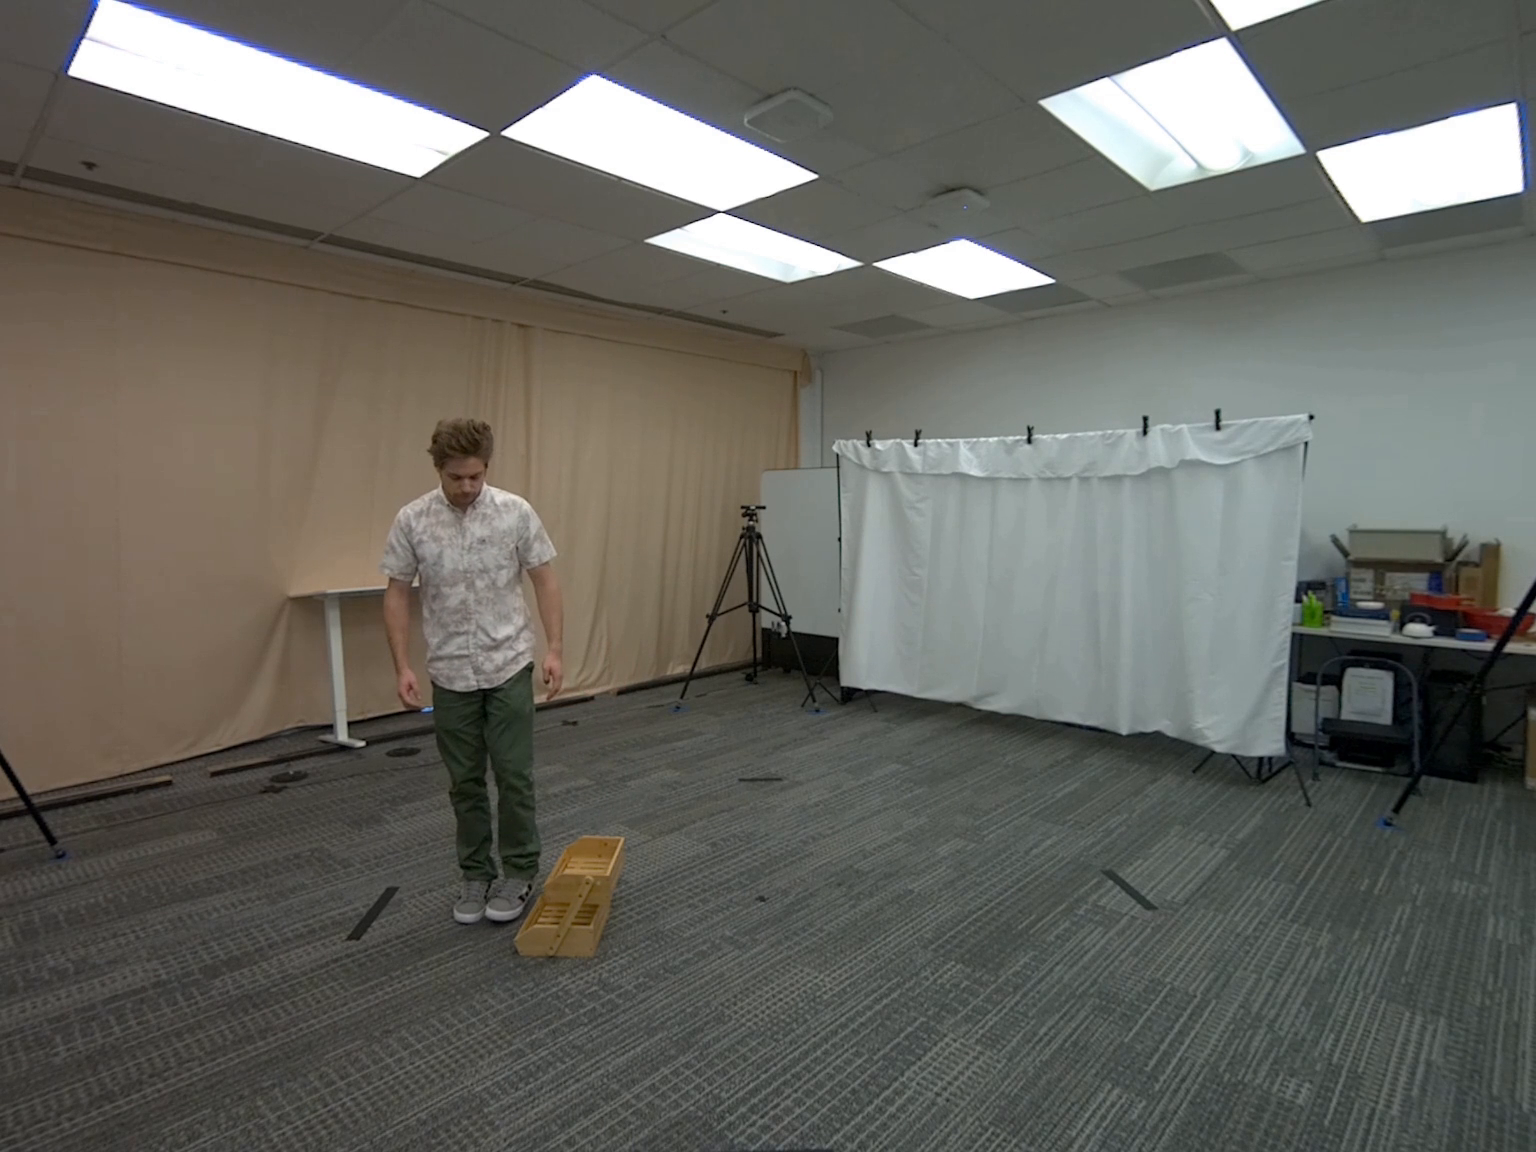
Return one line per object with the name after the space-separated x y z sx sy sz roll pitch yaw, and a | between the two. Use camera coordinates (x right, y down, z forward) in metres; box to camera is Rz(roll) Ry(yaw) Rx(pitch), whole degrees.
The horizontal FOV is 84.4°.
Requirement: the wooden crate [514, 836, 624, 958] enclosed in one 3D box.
-0.651 1.040 2.745 0.302 0.273 0.325 -2 3 0 | wooden crate
